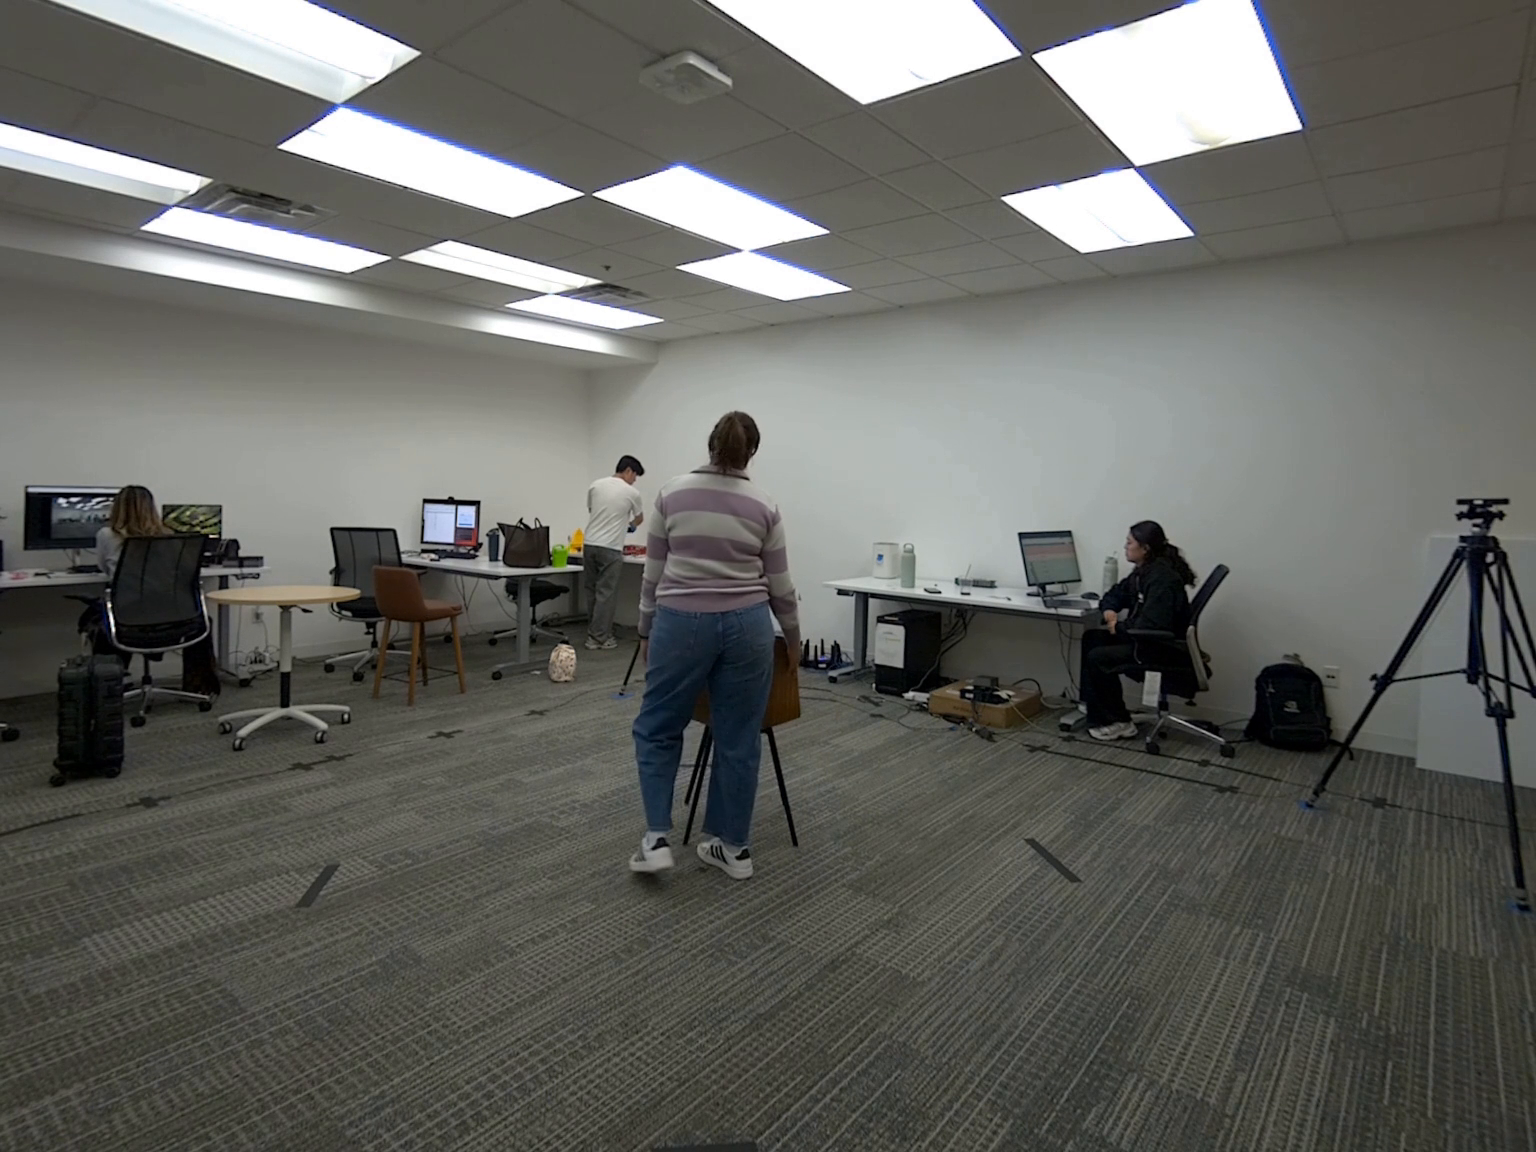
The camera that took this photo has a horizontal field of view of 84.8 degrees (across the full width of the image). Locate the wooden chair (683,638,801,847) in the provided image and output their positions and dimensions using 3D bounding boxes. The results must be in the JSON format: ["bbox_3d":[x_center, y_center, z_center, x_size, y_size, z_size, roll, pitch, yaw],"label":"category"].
[{"bbox_3d":[-0.131,0.598,3.523,0.477,0.871,0.528,0,7,-3],"label":"wooden chair"}]
